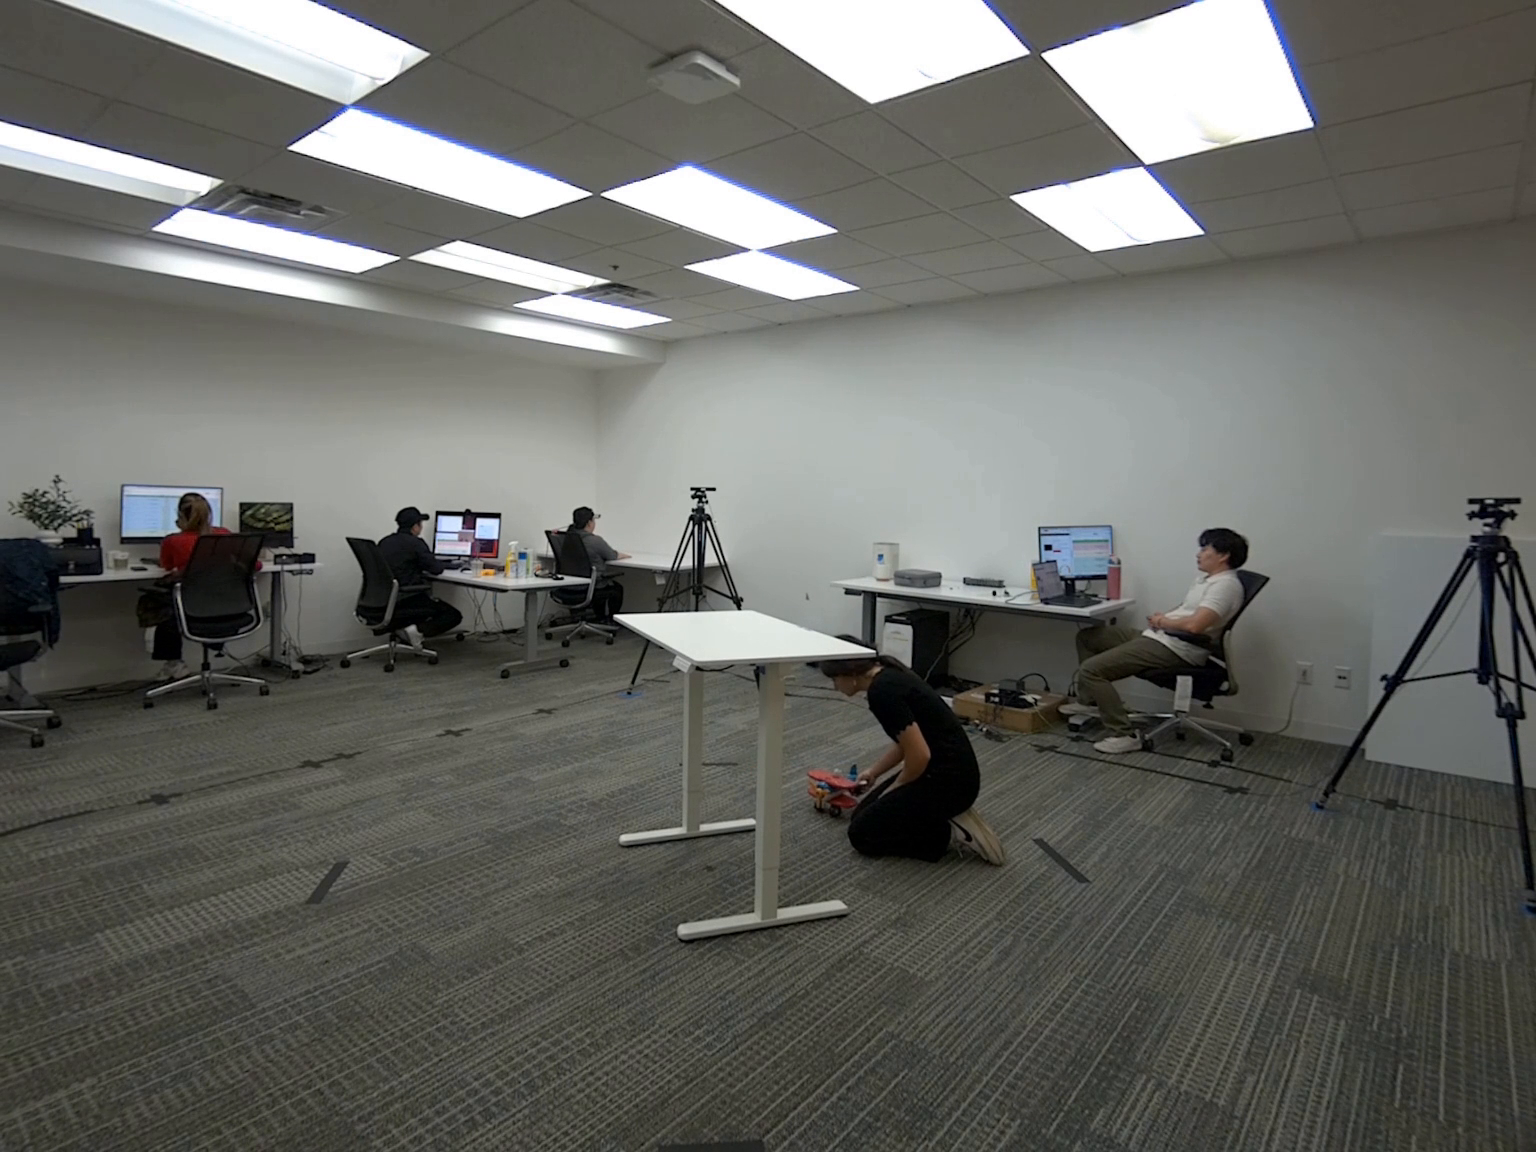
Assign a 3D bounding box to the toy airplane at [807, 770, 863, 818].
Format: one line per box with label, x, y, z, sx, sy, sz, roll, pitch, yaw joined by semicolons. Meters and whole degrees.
toy airplane;0.278;0.923;3.717;0.256;0.153;0.259;-6;18;20
